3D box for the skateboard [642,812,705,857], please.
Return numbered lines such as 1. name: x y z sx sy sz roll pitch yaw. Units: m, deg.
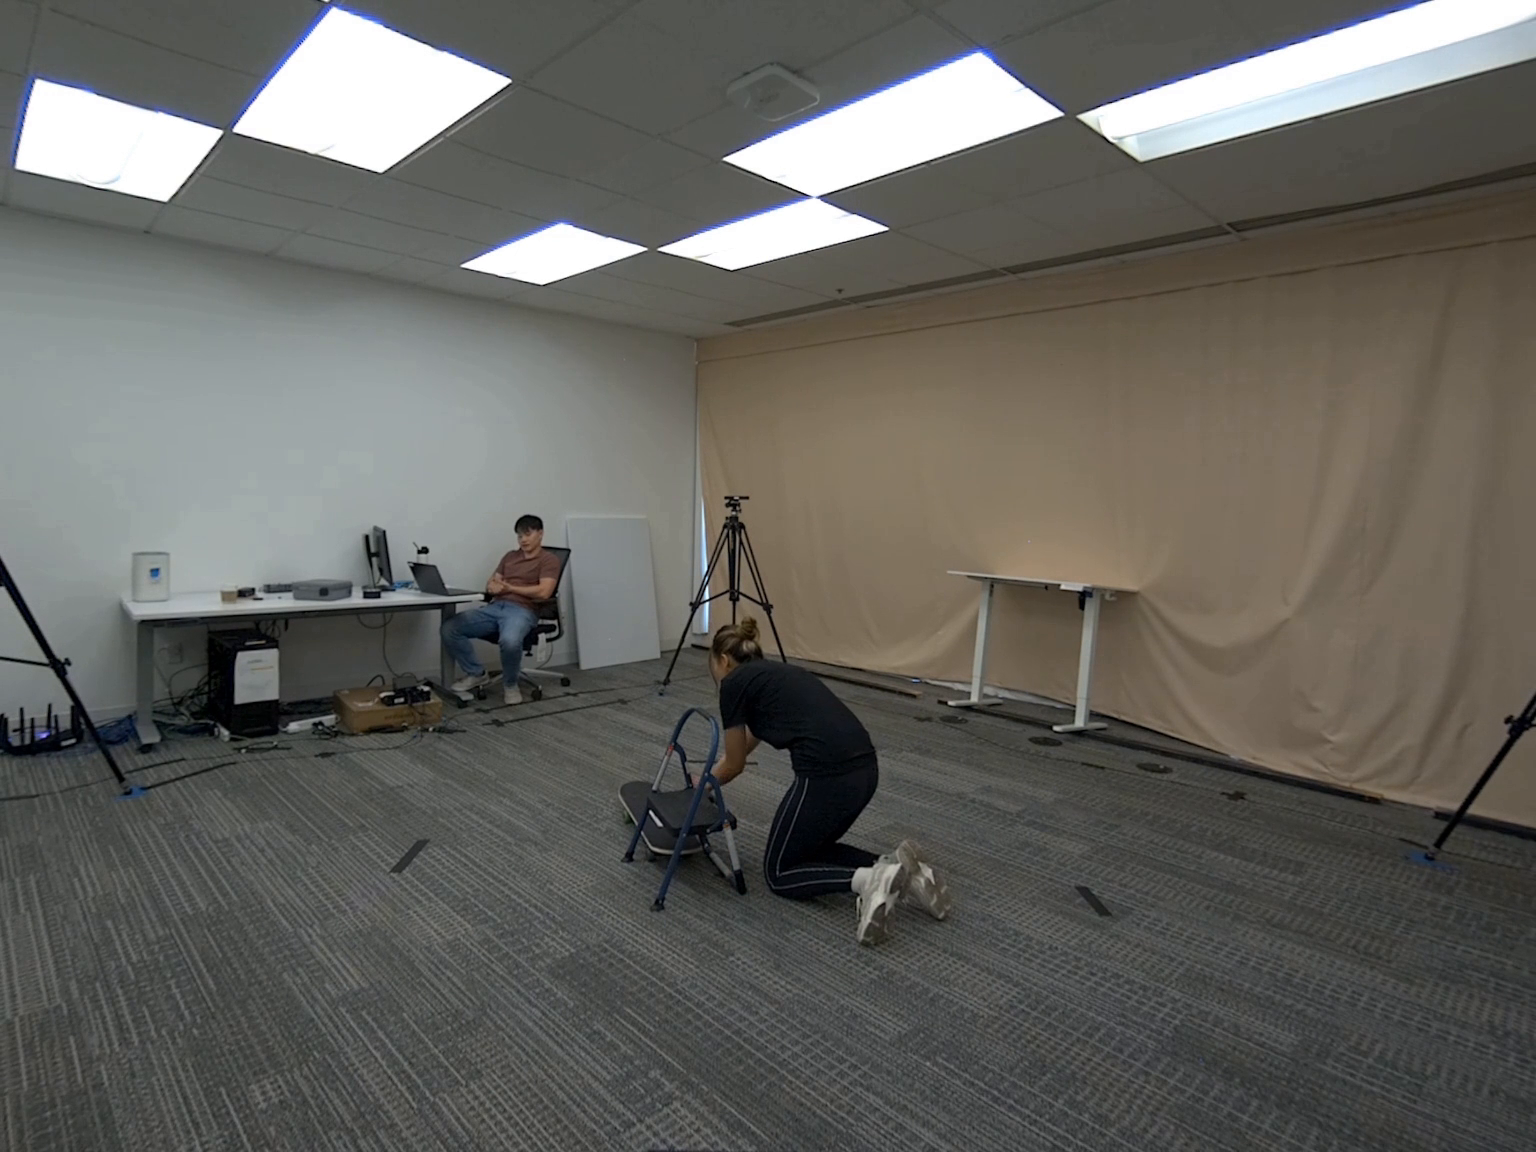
1. skateboard: -0.466 1.017 3.430 0.190 0.110 0.799 2 5 -21
